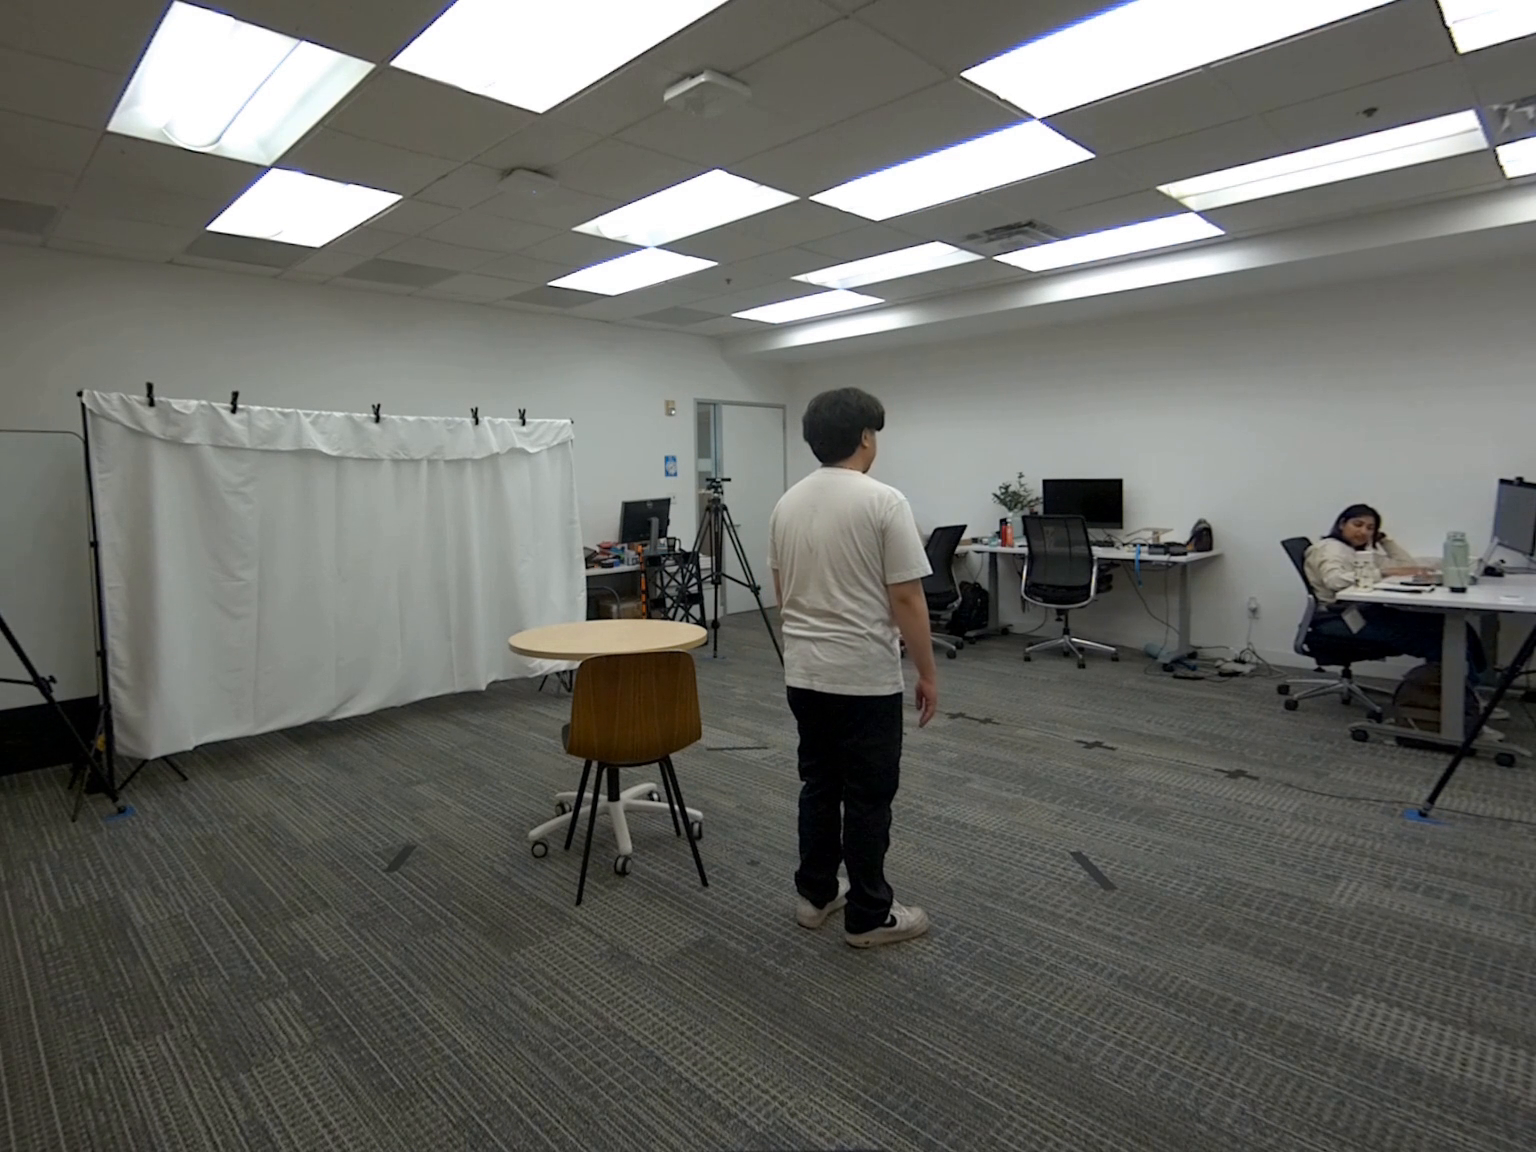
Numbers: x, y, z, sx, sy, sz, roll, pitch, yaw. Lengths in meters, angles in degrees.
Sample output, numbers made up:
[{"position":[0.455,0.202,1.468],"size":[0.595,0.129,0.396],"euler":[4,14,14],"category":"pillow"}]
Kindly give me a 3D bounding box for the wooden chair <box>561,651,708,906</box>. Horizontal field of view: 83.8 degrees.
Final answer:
[{"position":[-0.489,0.627,3.059],"size":[0.471,0.870,0.535],"euler":[-3,9,-17],"category":"wooden chair"}]
